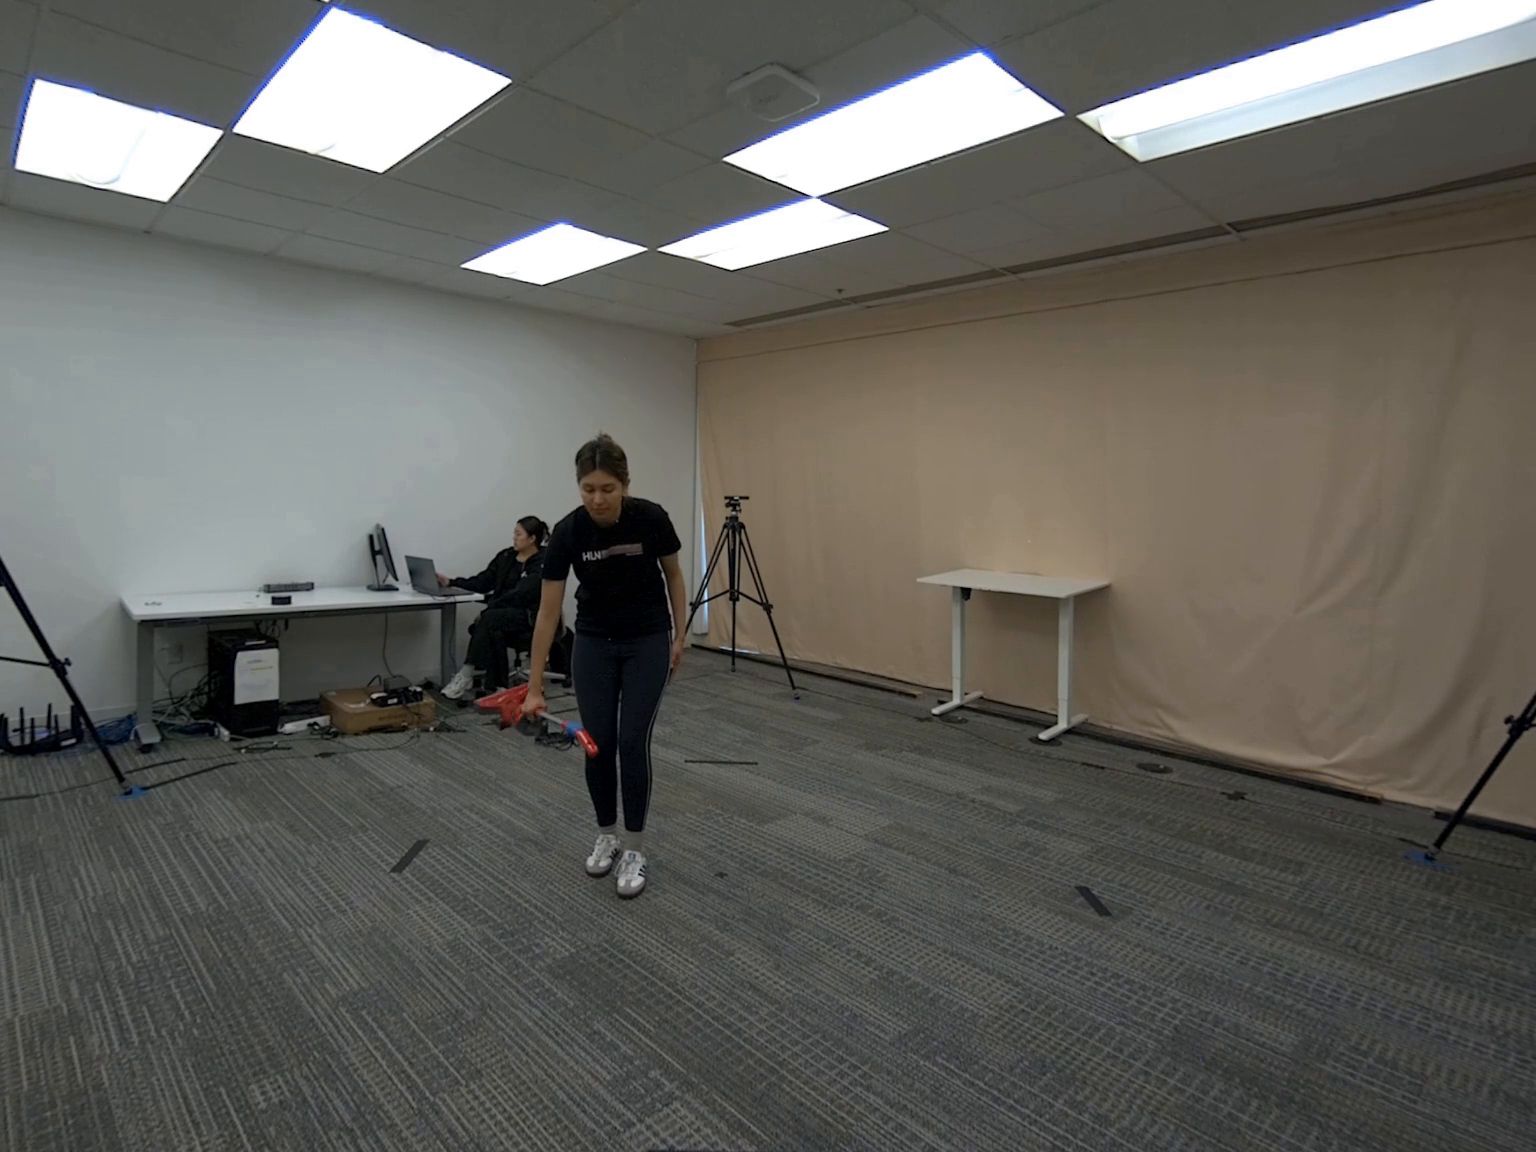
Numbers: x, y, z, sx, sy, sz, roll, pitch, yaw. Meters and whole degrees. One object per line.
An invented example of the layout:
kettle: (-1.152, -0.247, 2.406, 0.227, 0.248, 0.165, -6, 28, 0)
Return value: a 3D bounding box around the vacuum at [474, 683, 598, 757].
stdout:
vacuum: (-0.776, 0.532, 2.880, 0.250, 0.143, 1.068, -22, 10, -25)
